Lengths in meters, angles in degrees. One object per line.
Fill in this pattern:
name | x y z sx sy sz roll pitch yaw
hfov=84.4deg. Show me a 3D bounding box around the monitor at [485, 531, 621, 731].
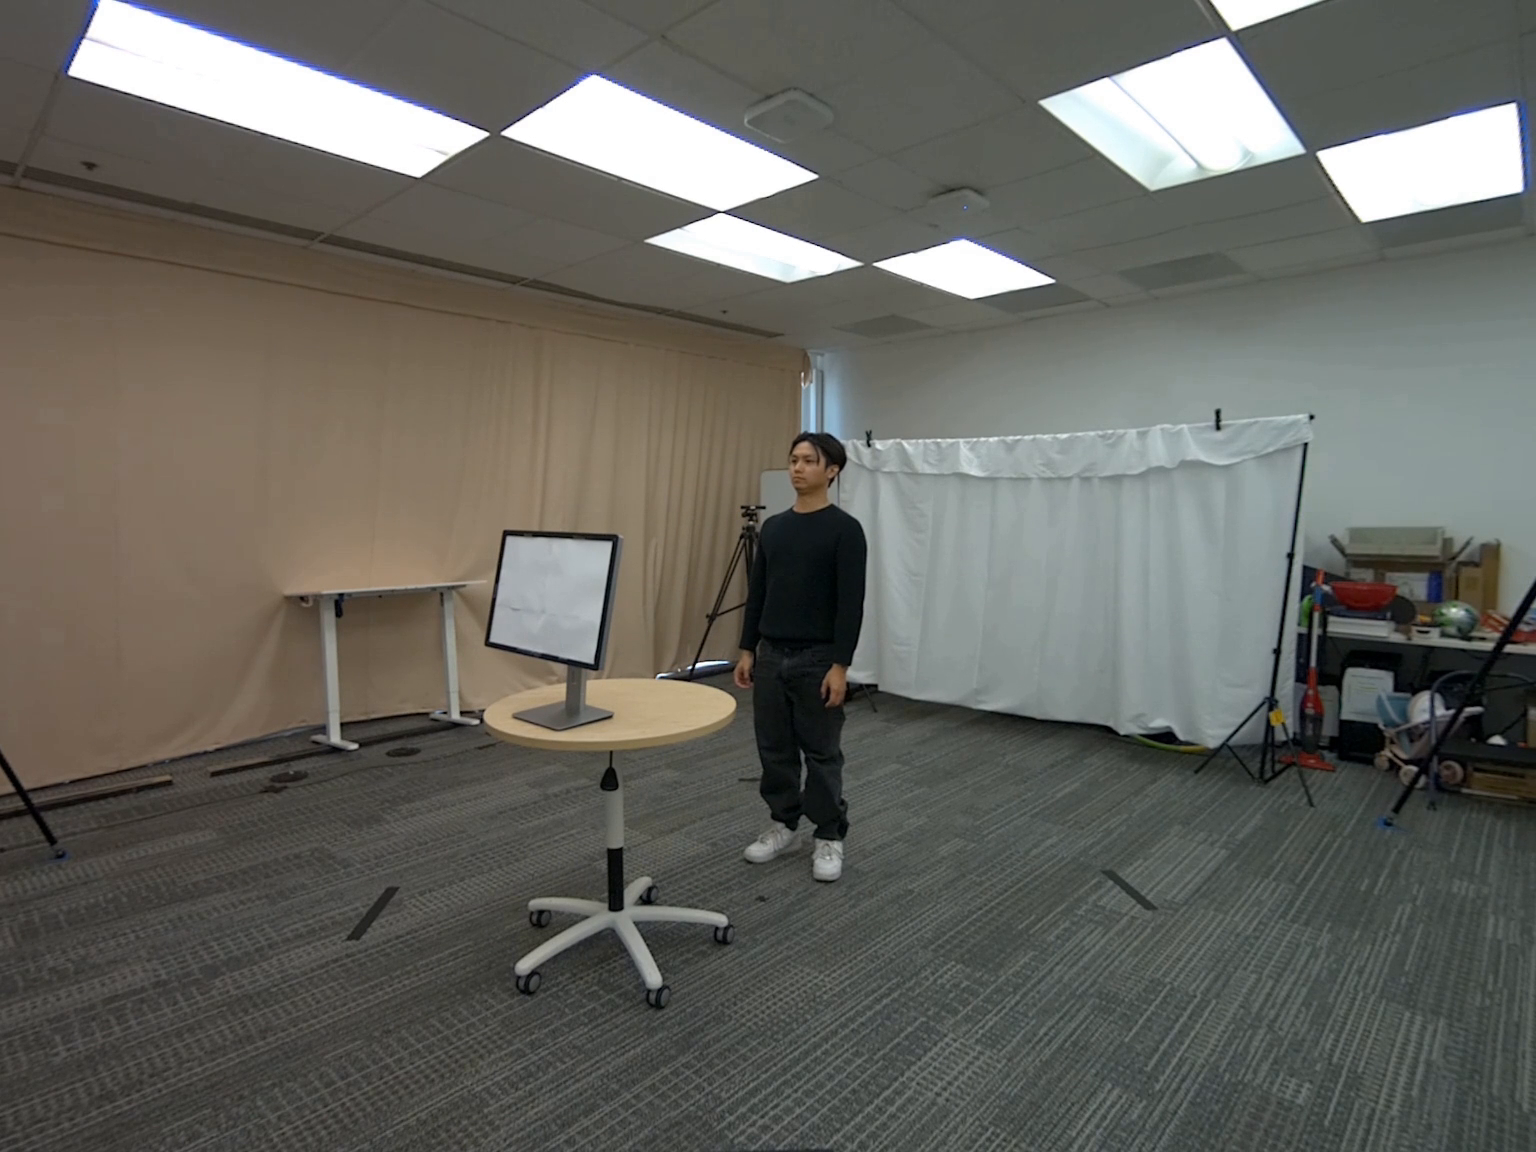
monitor | -0.608 0.146 2.433 0.548 0.513 0.170 5 10 40
